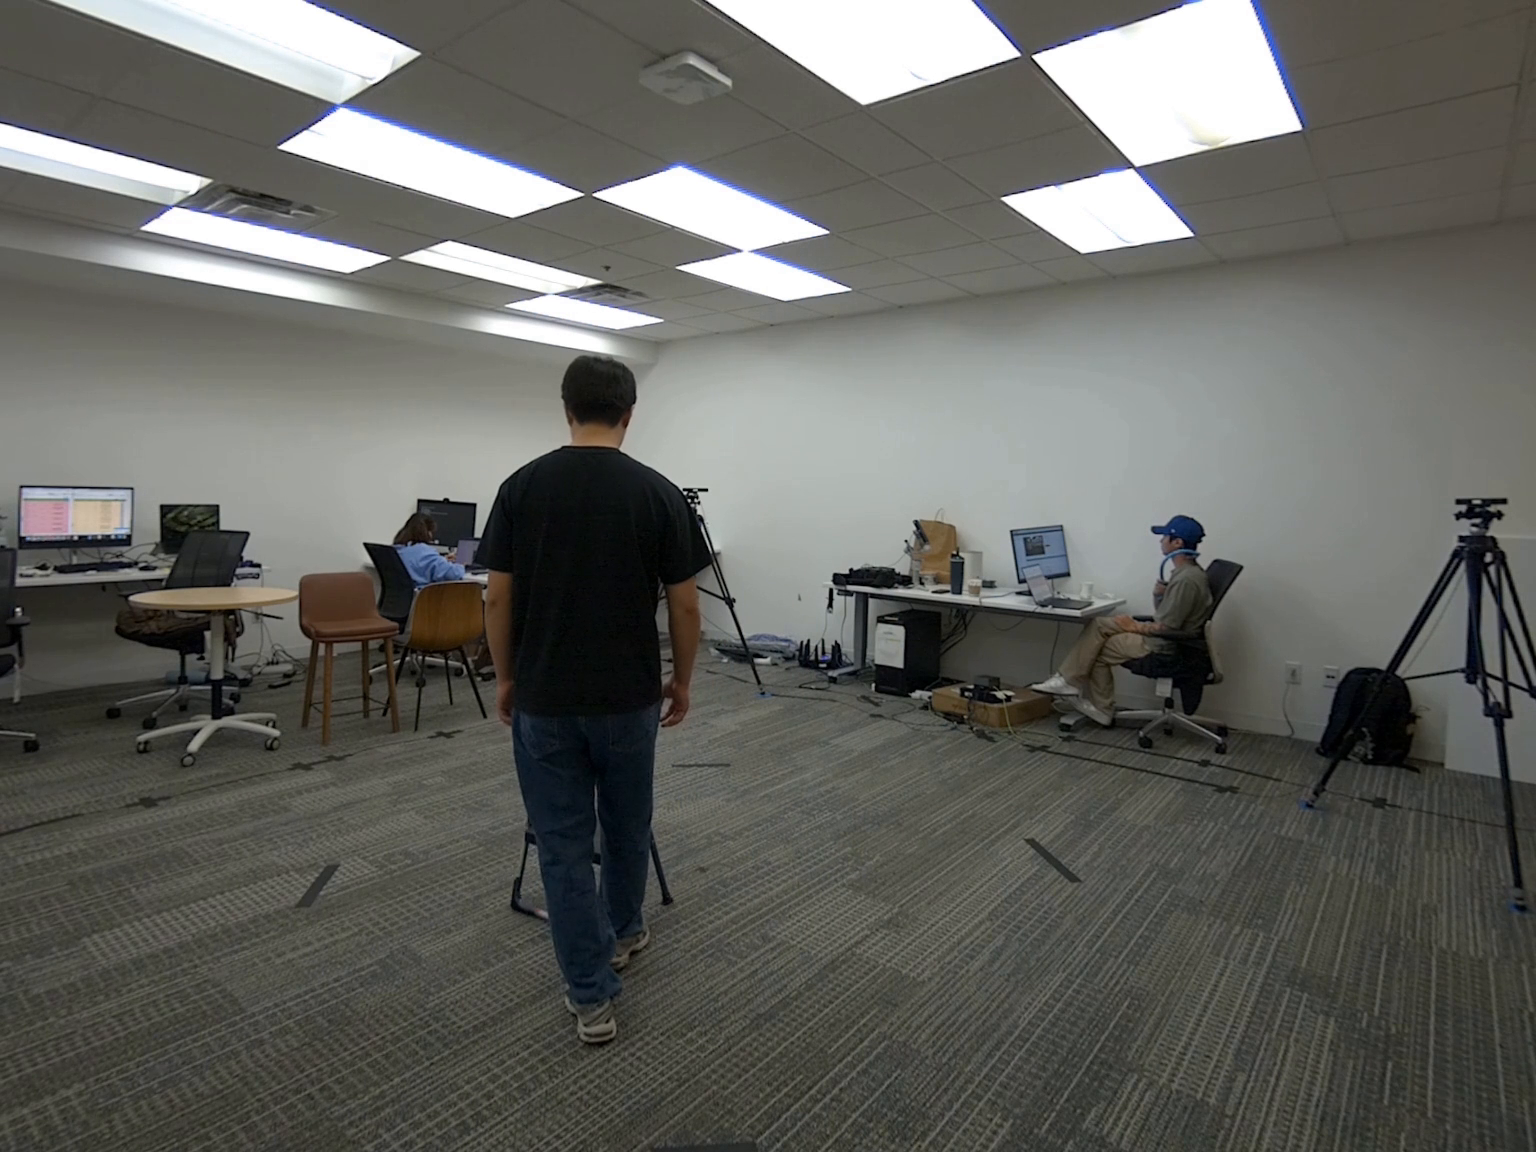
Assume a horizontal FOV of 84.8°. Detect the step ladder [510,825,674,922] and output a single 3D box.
[{"bbox_3d":[-0.591,0.783,2.809,0.443,0.604,0.340,3,4,30],"label":"step ladder"}]
